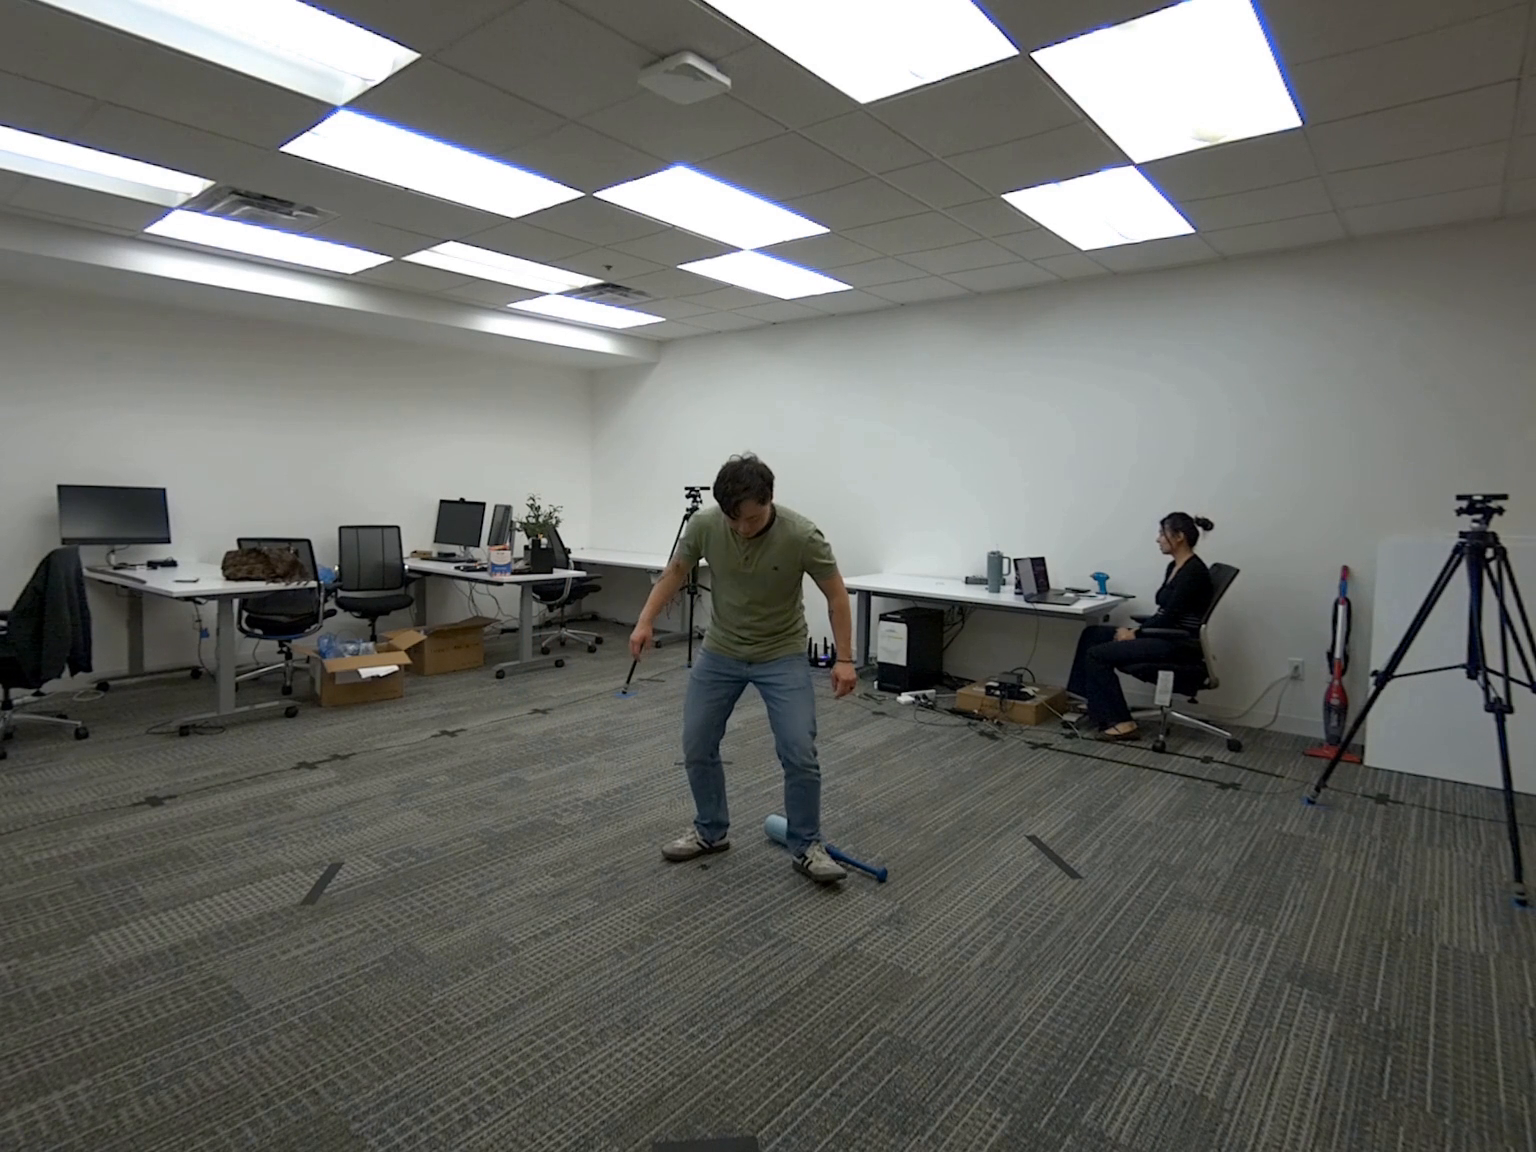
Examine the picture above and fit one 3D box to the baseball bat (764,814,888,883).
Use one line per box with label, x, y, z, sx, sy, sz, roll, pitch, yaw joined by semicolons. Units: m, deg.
baseball bat;0.199;1.025;3.208;0.563;0.088;0.086;11;9;41
